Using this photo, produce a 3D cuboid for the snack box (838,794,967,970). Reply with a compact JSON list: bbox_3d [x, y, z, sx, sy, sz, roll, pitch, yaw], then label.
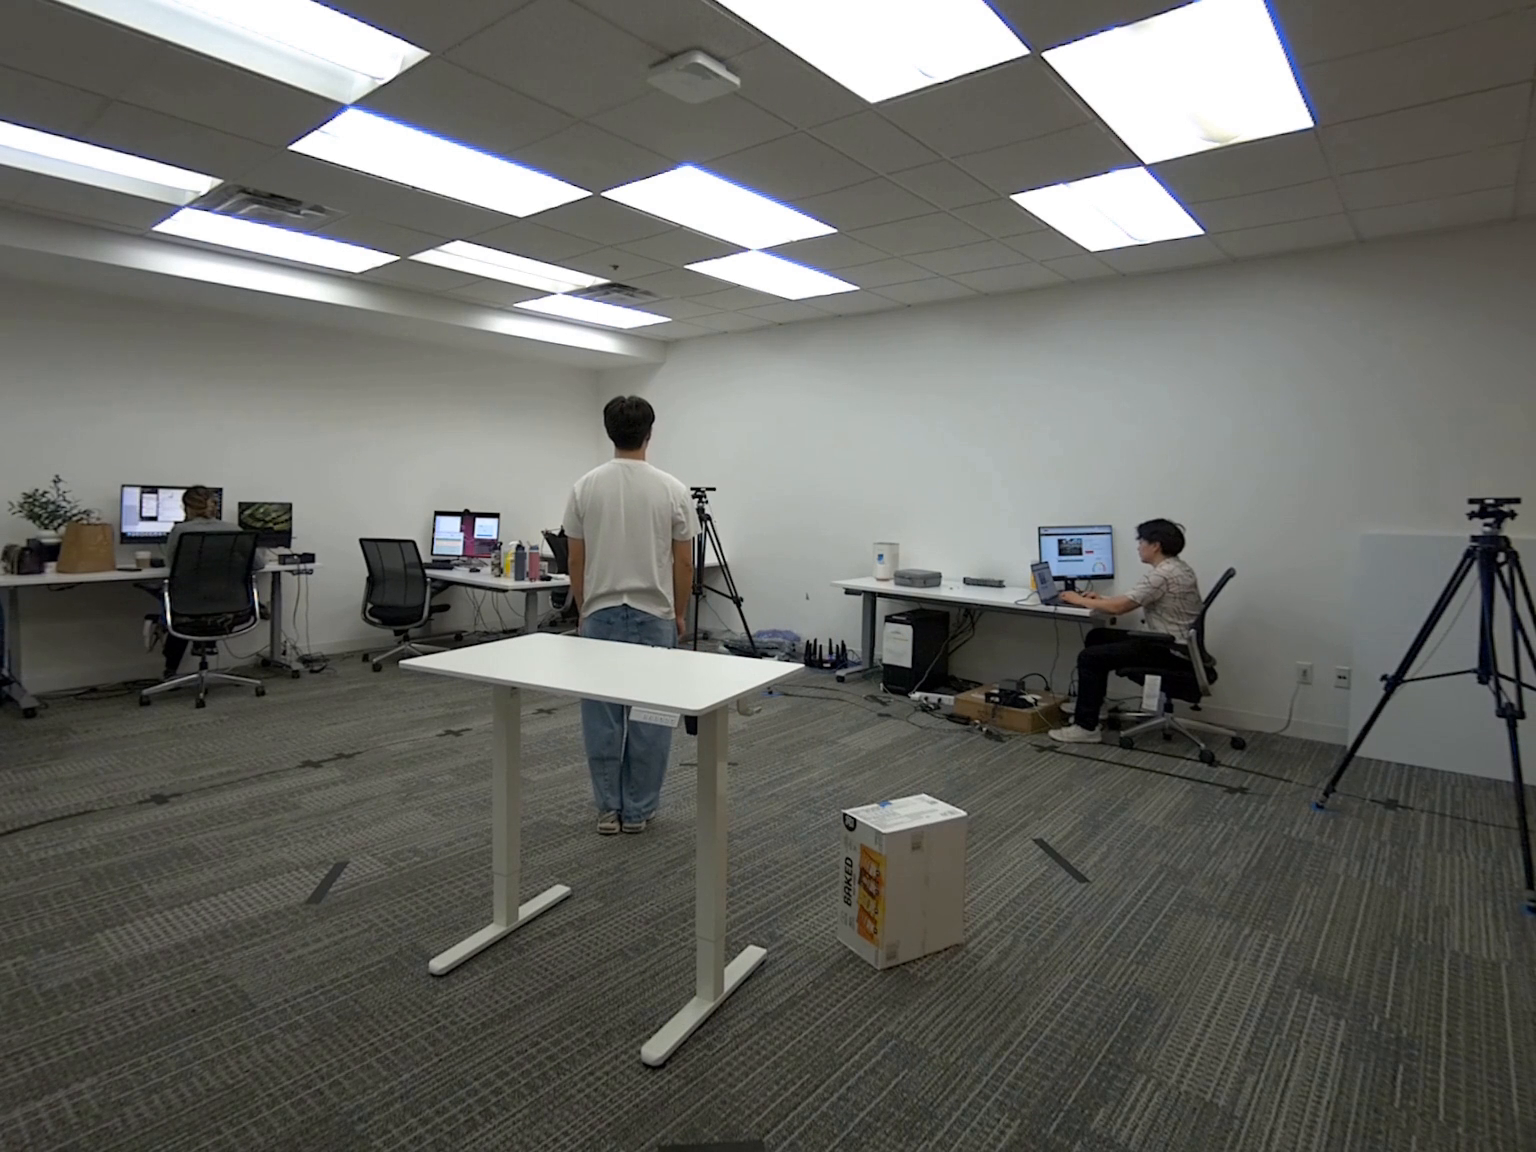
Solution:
[{"bbox_3d":[0.411,0.925,2.623,0.331,0.404,0.212,0,3,-32],"label":"snack box"}]
